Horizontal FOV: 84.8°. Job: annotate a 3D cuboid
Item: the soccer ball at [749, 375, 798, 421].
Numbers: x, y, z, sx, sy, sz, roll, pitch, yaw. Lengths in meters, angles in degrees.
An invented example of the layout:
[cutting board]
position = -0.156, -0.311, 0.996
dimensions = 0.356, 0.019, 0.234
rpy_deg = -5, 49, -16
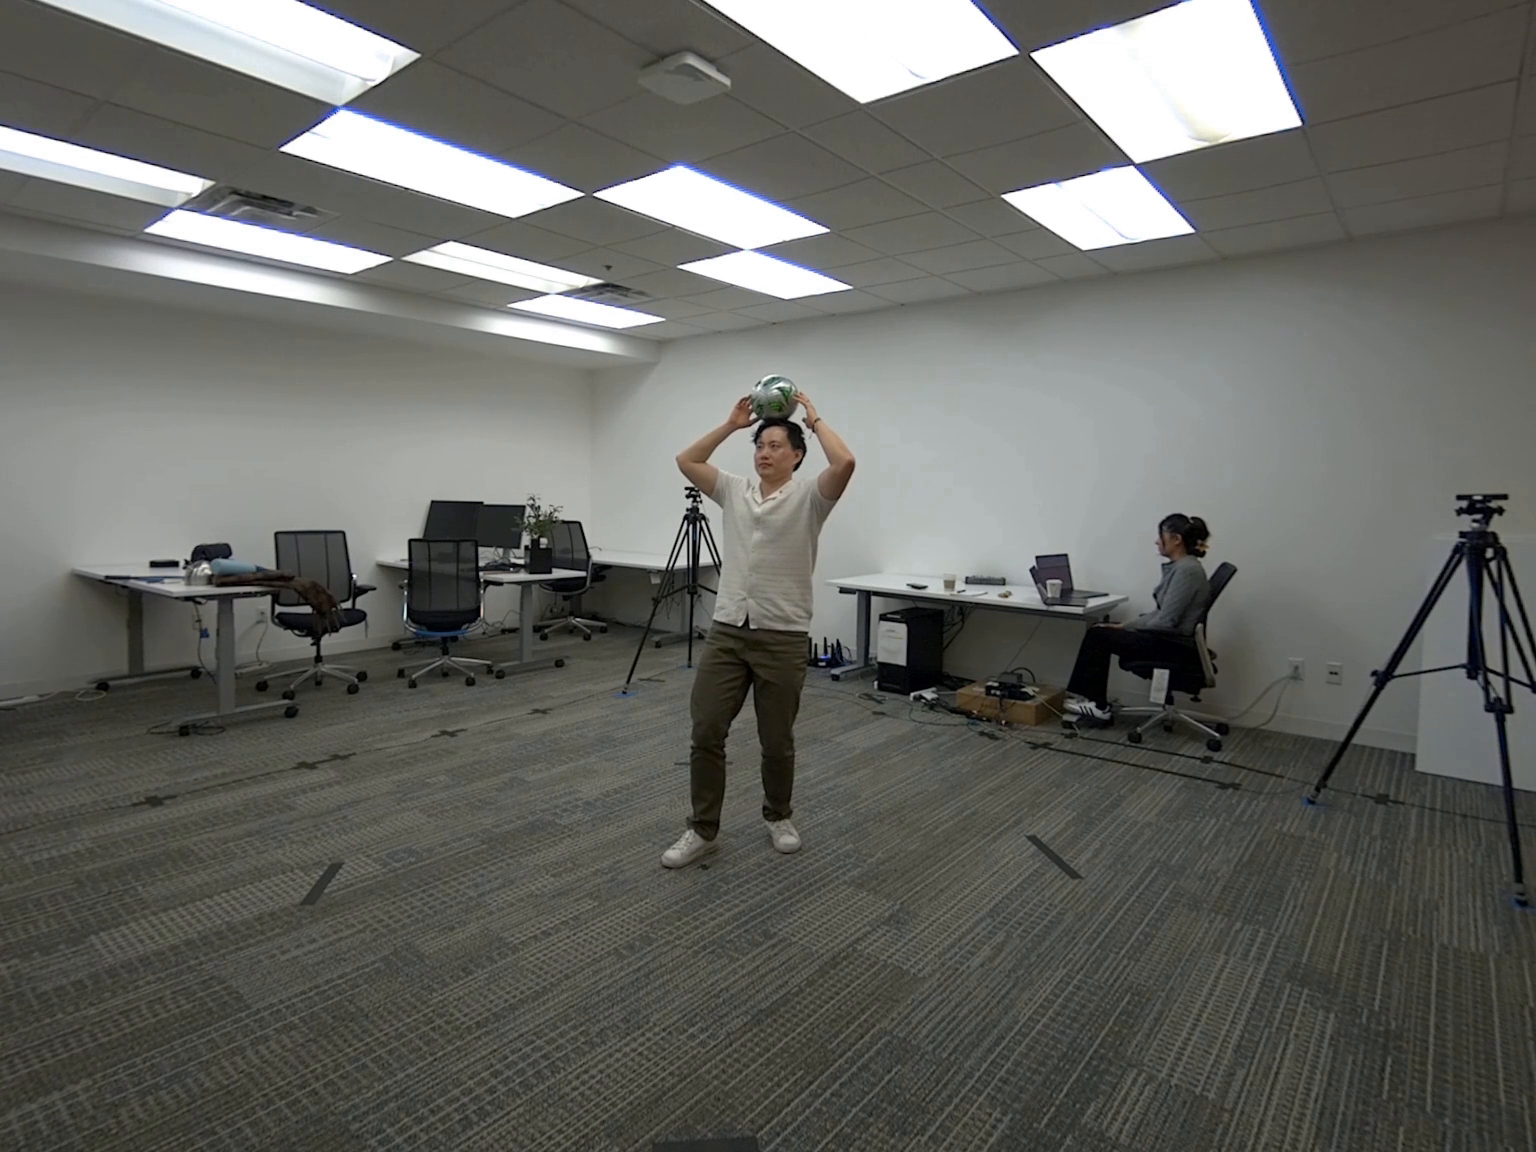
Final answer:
[soccer ball]
position = 0.018, -0.690, 3.315
dimensions = 0.187, 0.187, 0.188
rpy_deg = 1, 4, -2
